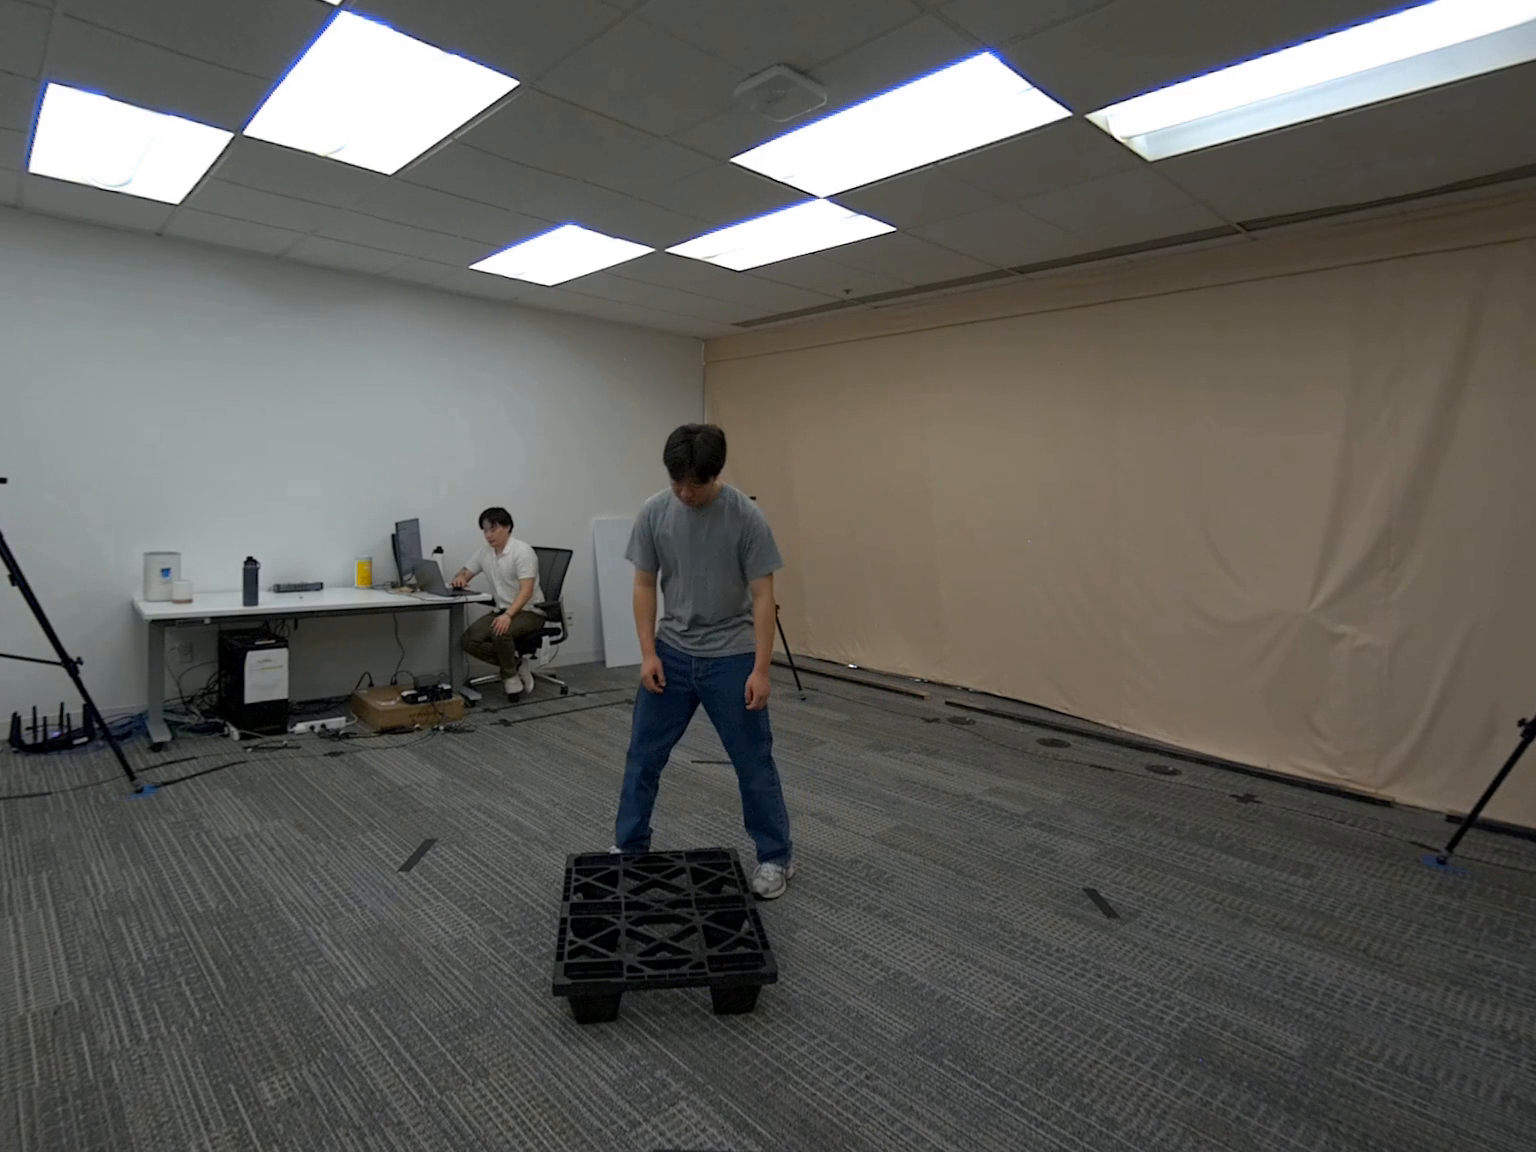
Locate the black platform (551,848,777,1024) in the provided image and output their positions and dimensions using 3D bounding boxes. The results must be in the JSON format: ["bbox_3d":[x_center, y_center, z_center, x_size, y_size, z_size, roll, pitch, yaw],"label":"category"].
[{"bbox_3d":[-0.347,1.081,2.594,0.601,0.143,0.814,0,5,-10],"label":"black platform"}]
